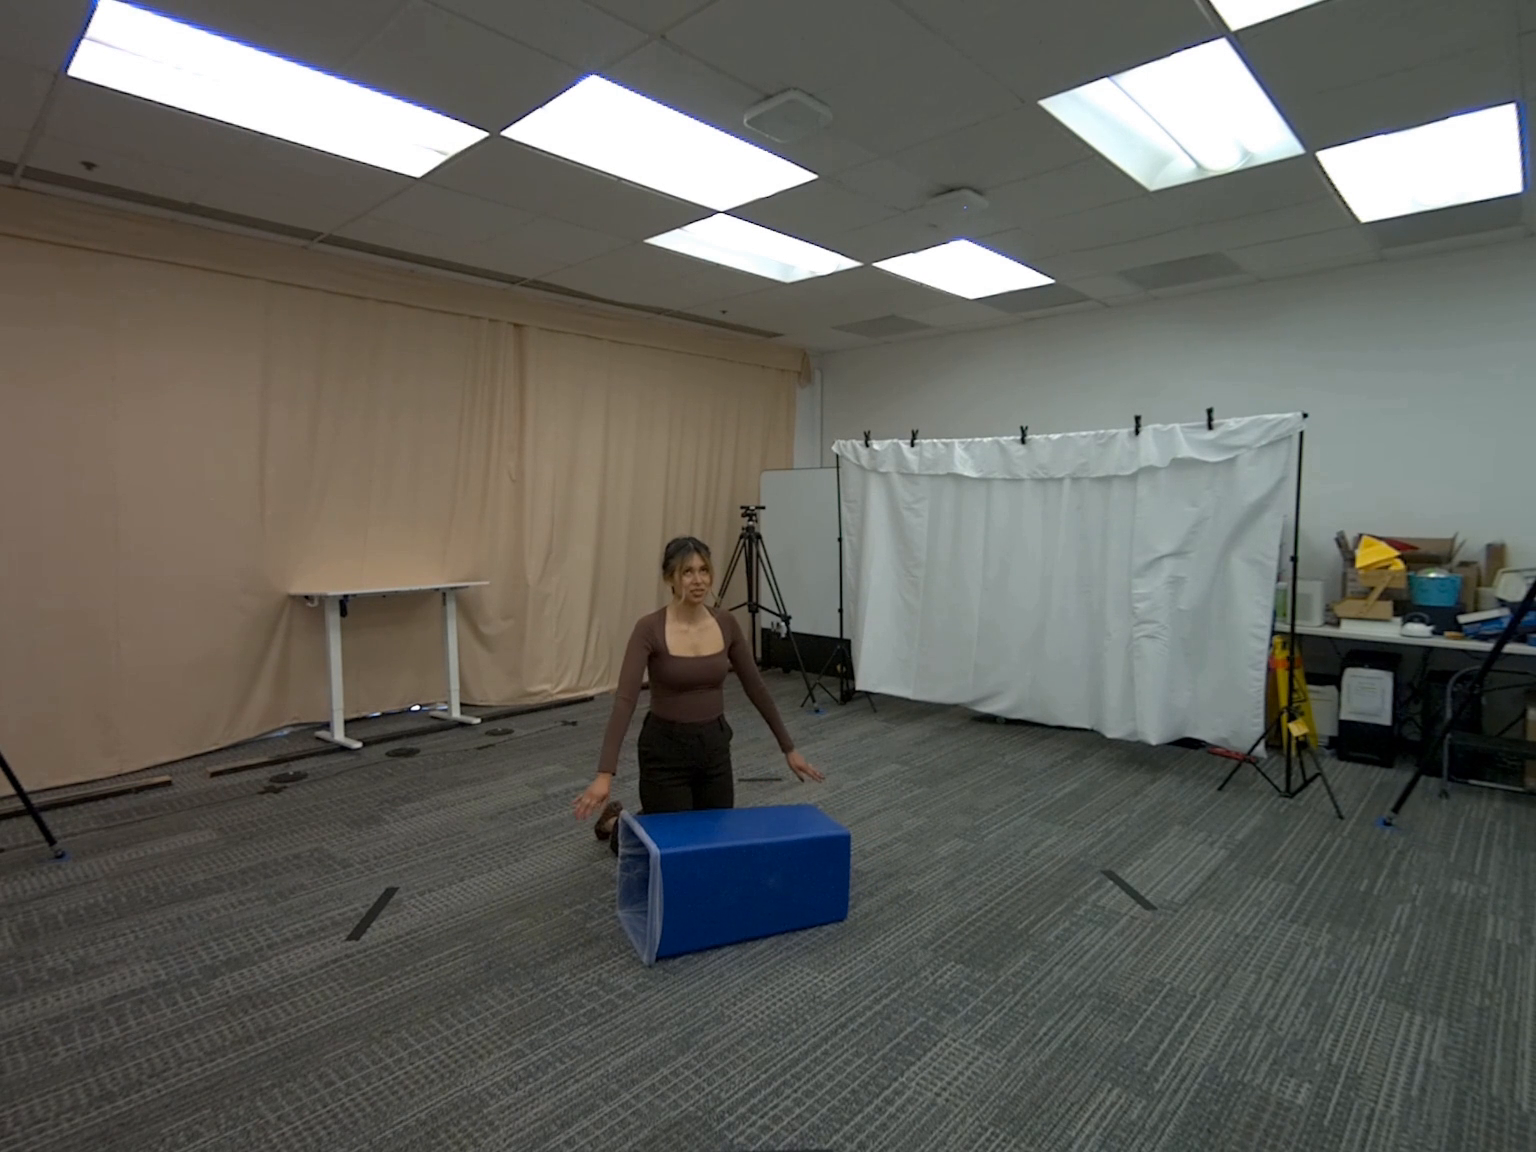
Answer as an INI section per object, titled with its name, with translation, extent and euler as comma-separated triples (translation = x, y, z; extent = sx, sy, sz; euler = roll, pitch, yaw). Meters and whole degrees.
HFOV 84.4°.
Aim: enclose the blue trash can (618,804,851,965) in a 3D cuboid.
[blue trash can]
translation = -0.107, 0.984, 2.816
extent = 0.698, 0.377, 0.383
euler = 0, 3, -22
